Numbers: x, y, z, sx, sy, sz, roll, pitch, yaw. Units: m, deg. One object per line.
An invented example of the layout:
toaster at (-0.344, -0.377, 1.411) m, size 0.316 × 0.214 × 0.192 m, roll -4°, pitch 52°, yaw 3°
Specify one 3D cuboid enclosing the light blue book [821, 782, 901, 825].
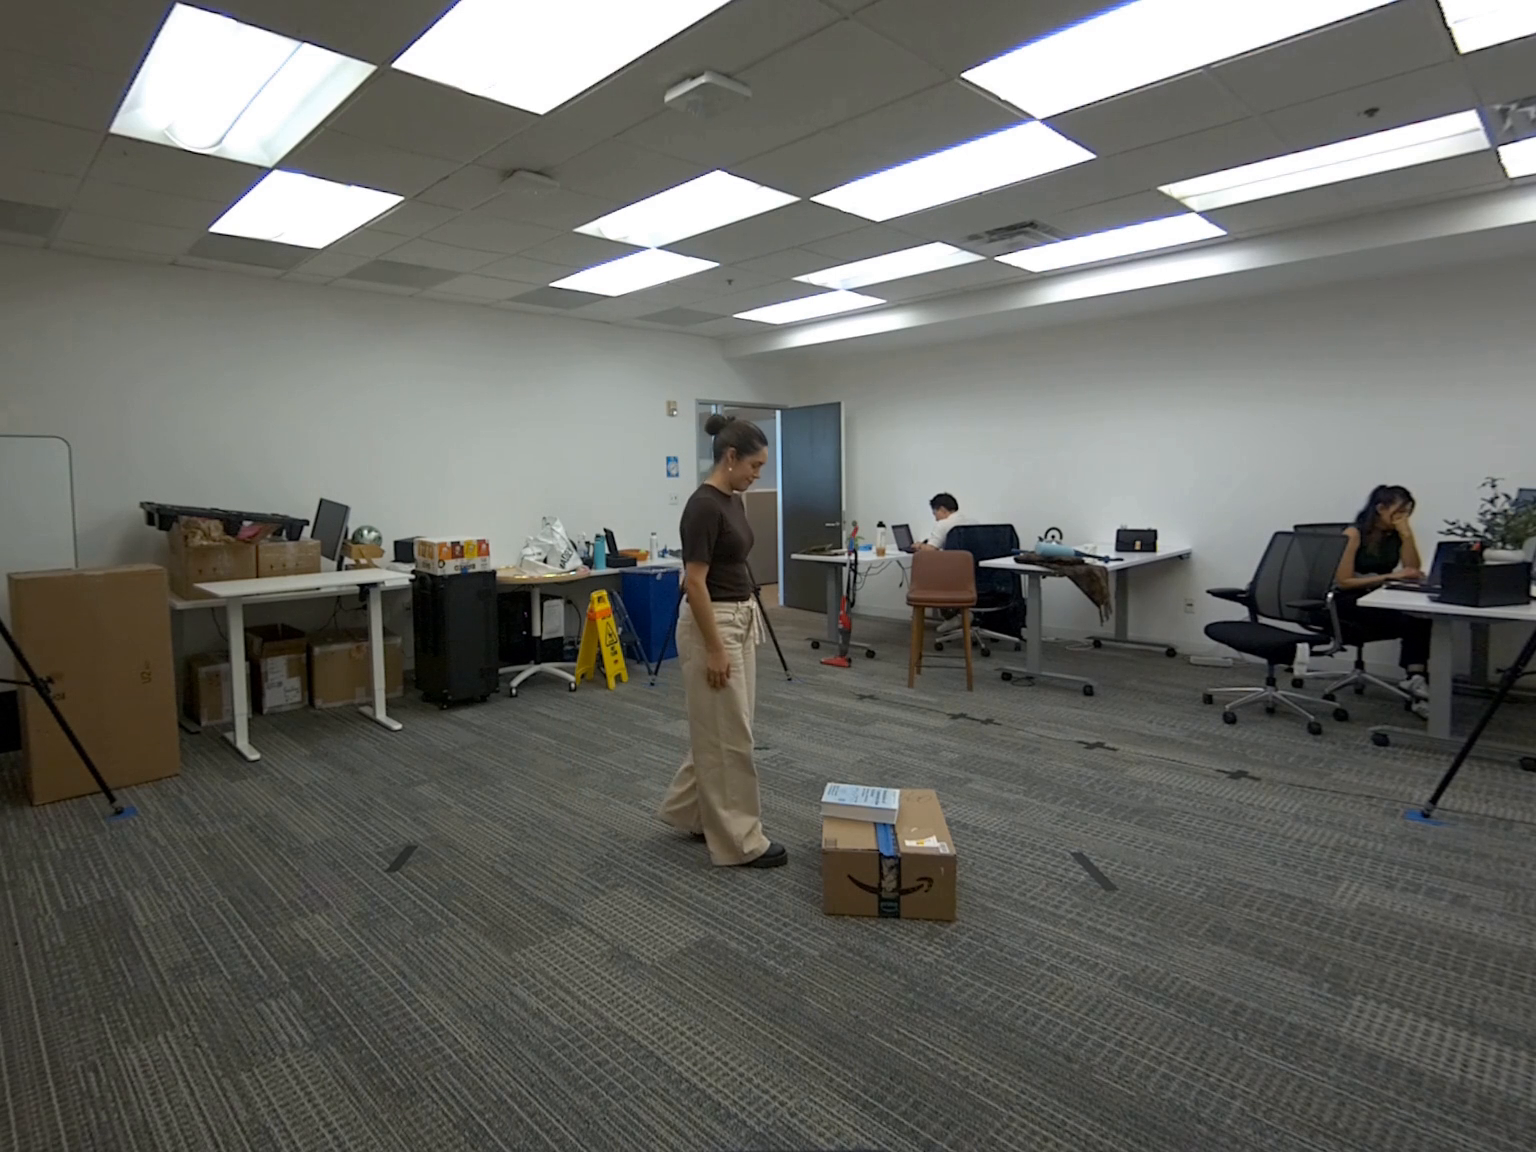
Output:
light blue book at (0.335, 0.801, 3.035) m, size 0.265 × 0.059 × 0.190 m, roll 2°, pitch 7°, yaw 14°
